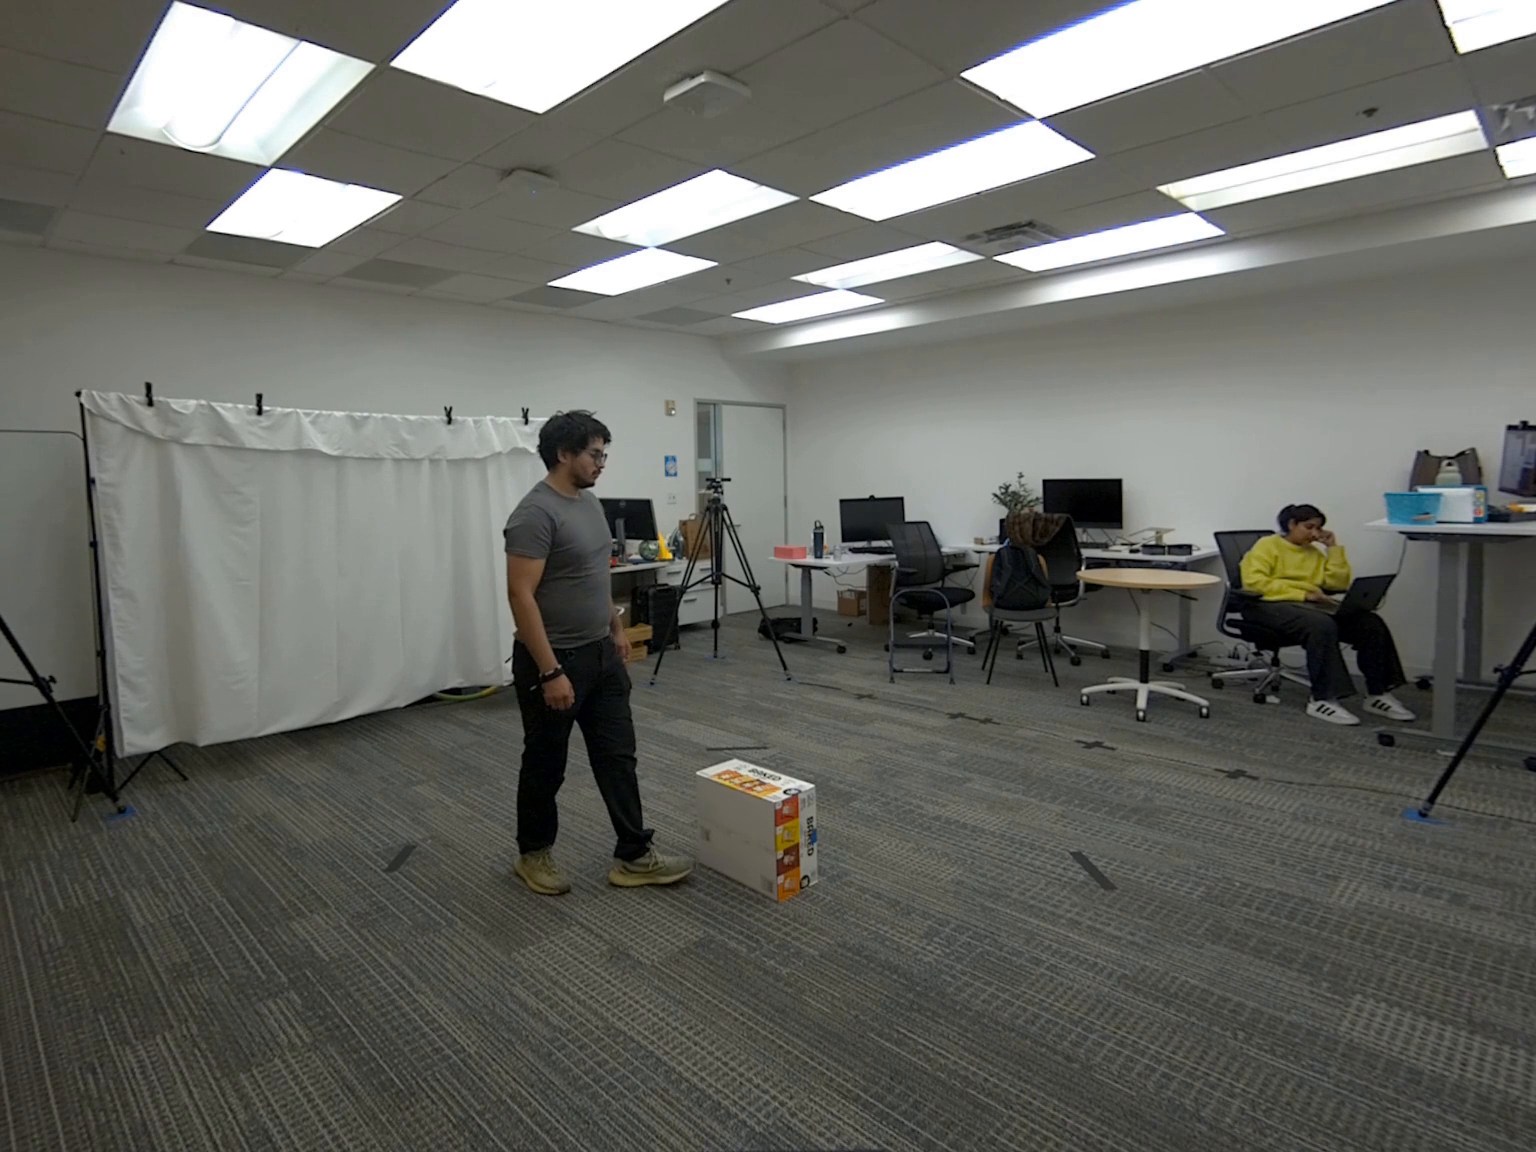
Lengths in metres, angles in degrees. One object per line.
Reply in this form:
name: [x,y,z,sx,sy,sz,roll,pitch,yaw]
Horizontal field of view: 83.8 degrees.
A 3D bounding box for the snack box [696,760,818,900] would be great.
snack box: [-0.042,0.882,3.018,0.200,0.339,0.418,-6,7,-45]
